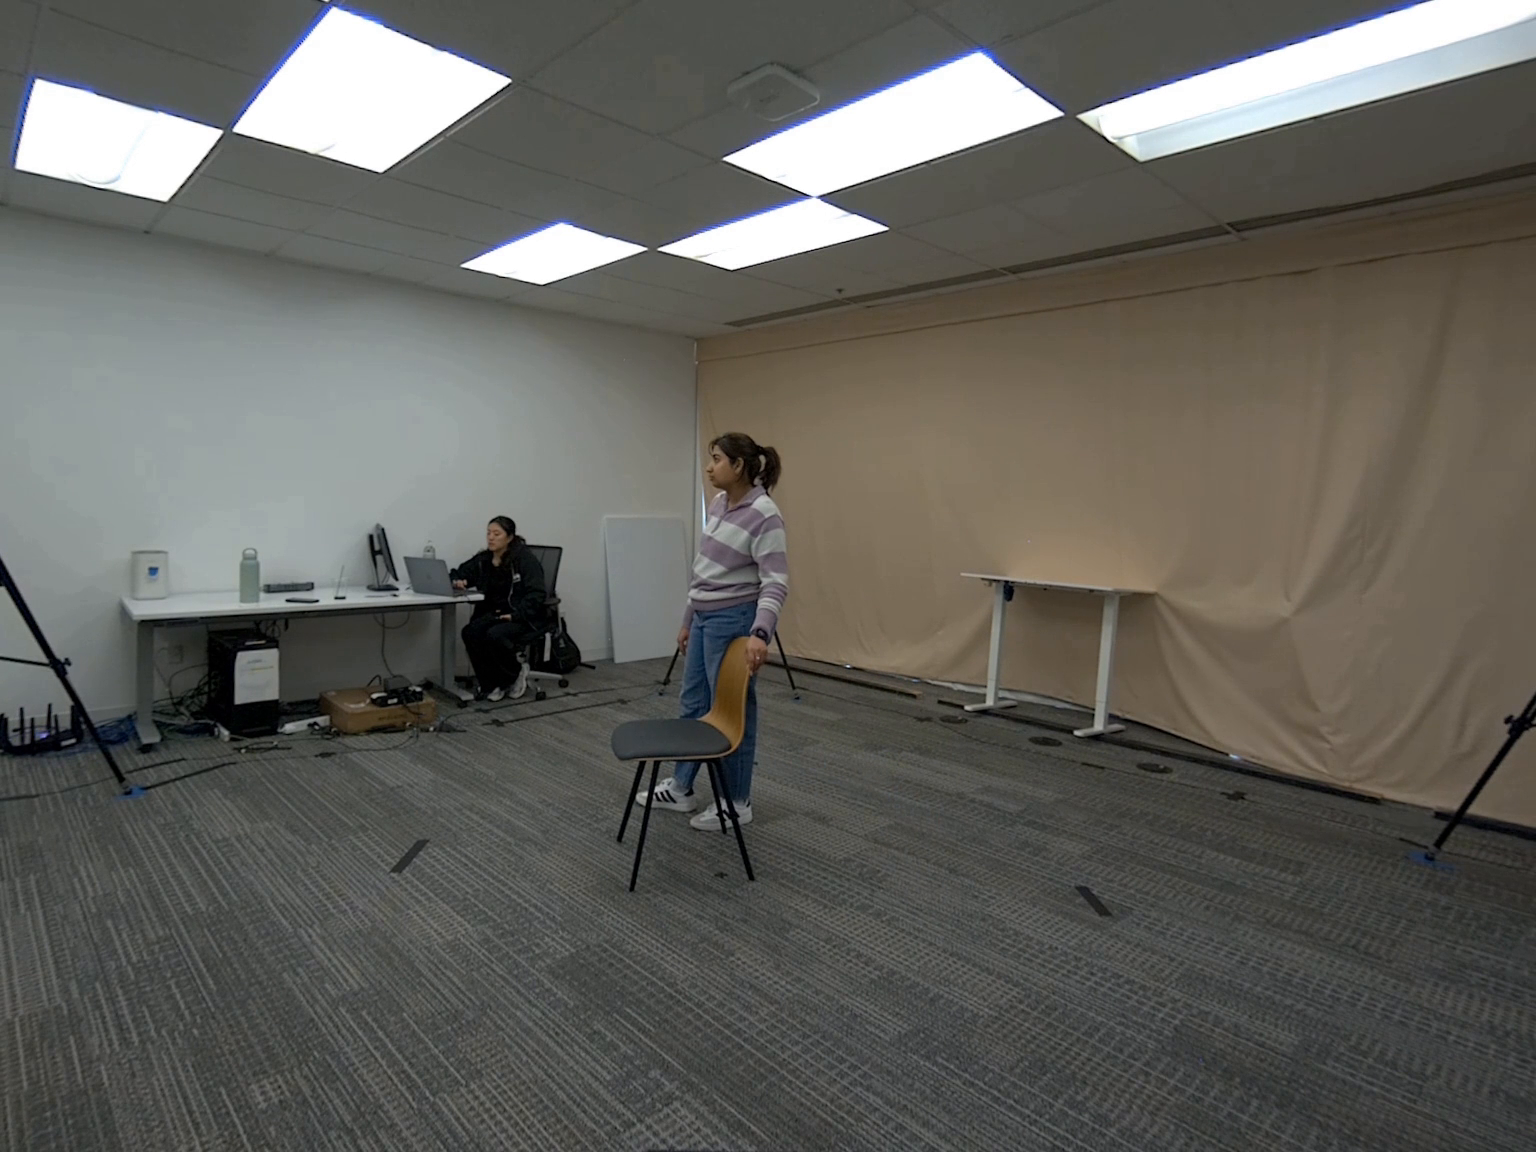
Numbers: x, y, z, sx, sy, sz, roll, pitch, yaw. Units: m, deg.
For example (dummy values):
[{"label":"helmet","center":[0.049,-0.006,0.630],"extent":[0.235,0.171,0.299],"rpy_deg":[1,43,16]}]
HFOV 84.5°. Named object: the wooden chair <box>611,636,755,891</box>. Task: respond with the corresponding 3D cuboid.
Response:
[{"label":"wooden chair","center":[-0.333,0.665,3.182],"extent":[0.517,0.876,0.485],"rpy_deg":[4,3,-15]}]
